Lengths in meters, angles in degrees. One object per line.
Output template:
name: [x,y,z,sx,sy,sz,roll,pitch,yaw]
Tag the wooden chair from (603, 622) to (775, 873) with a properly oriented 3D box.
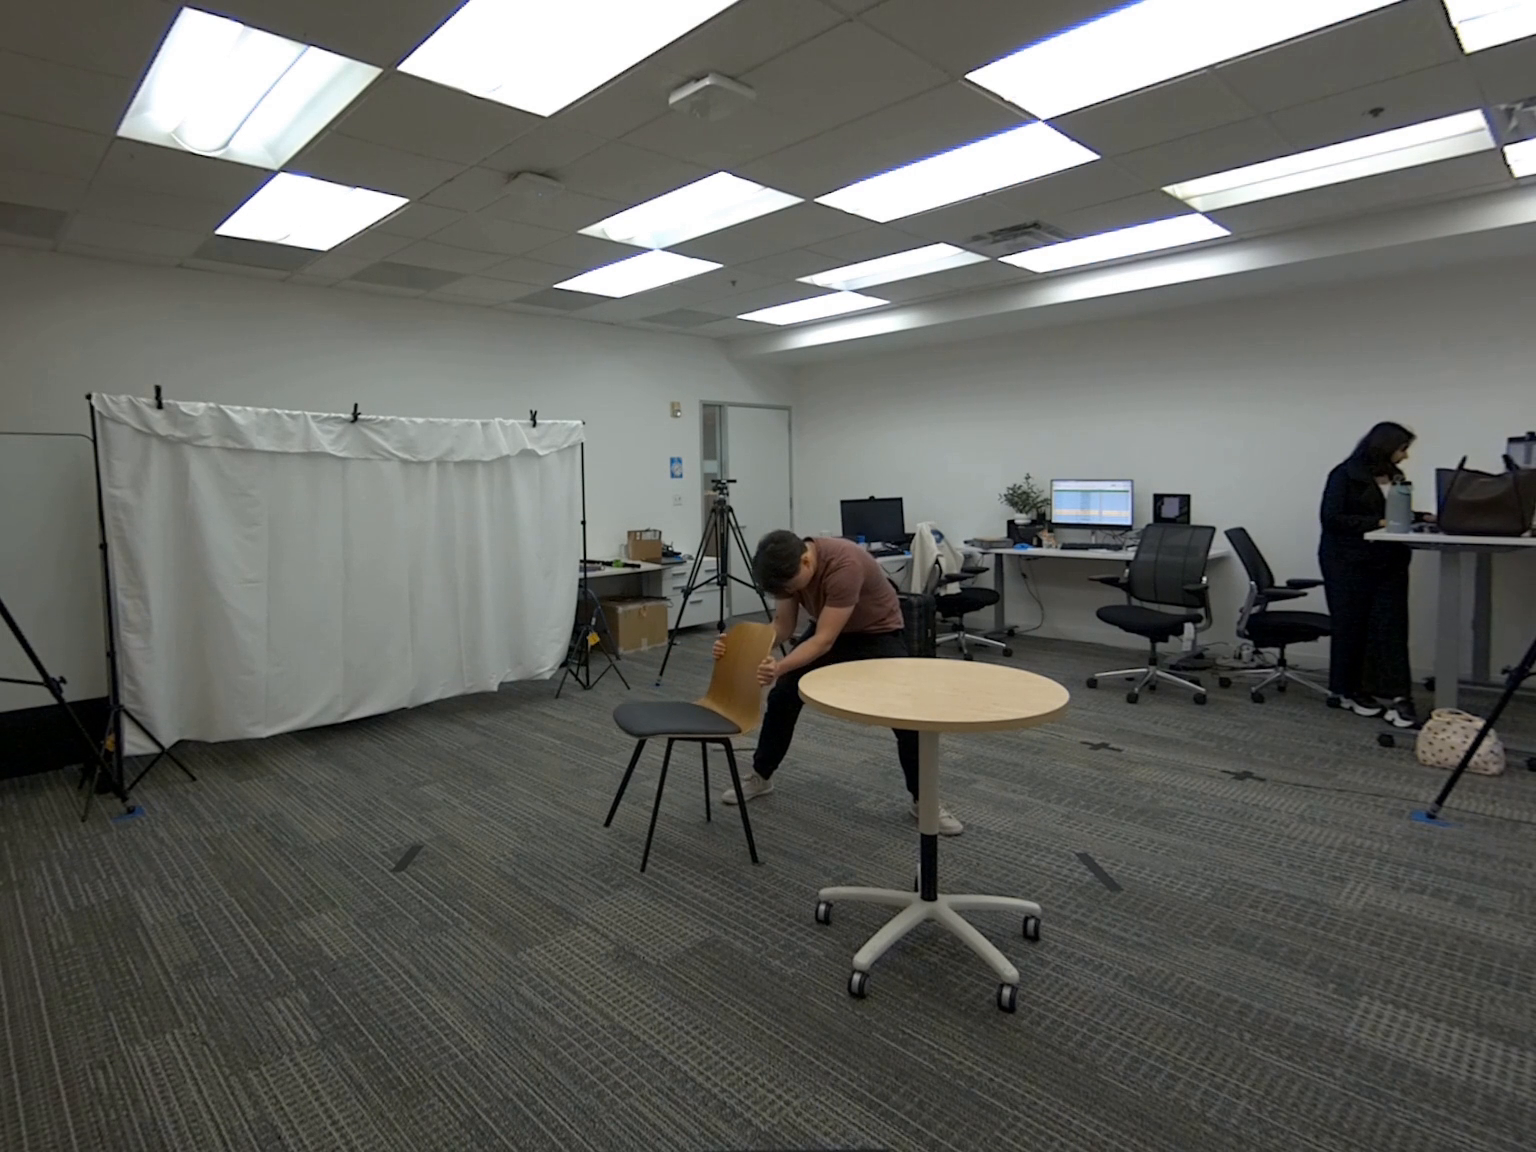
wooden chair: [-0.301,0.591,3.201,0.510,0.878,0.490,9,0,-26]
